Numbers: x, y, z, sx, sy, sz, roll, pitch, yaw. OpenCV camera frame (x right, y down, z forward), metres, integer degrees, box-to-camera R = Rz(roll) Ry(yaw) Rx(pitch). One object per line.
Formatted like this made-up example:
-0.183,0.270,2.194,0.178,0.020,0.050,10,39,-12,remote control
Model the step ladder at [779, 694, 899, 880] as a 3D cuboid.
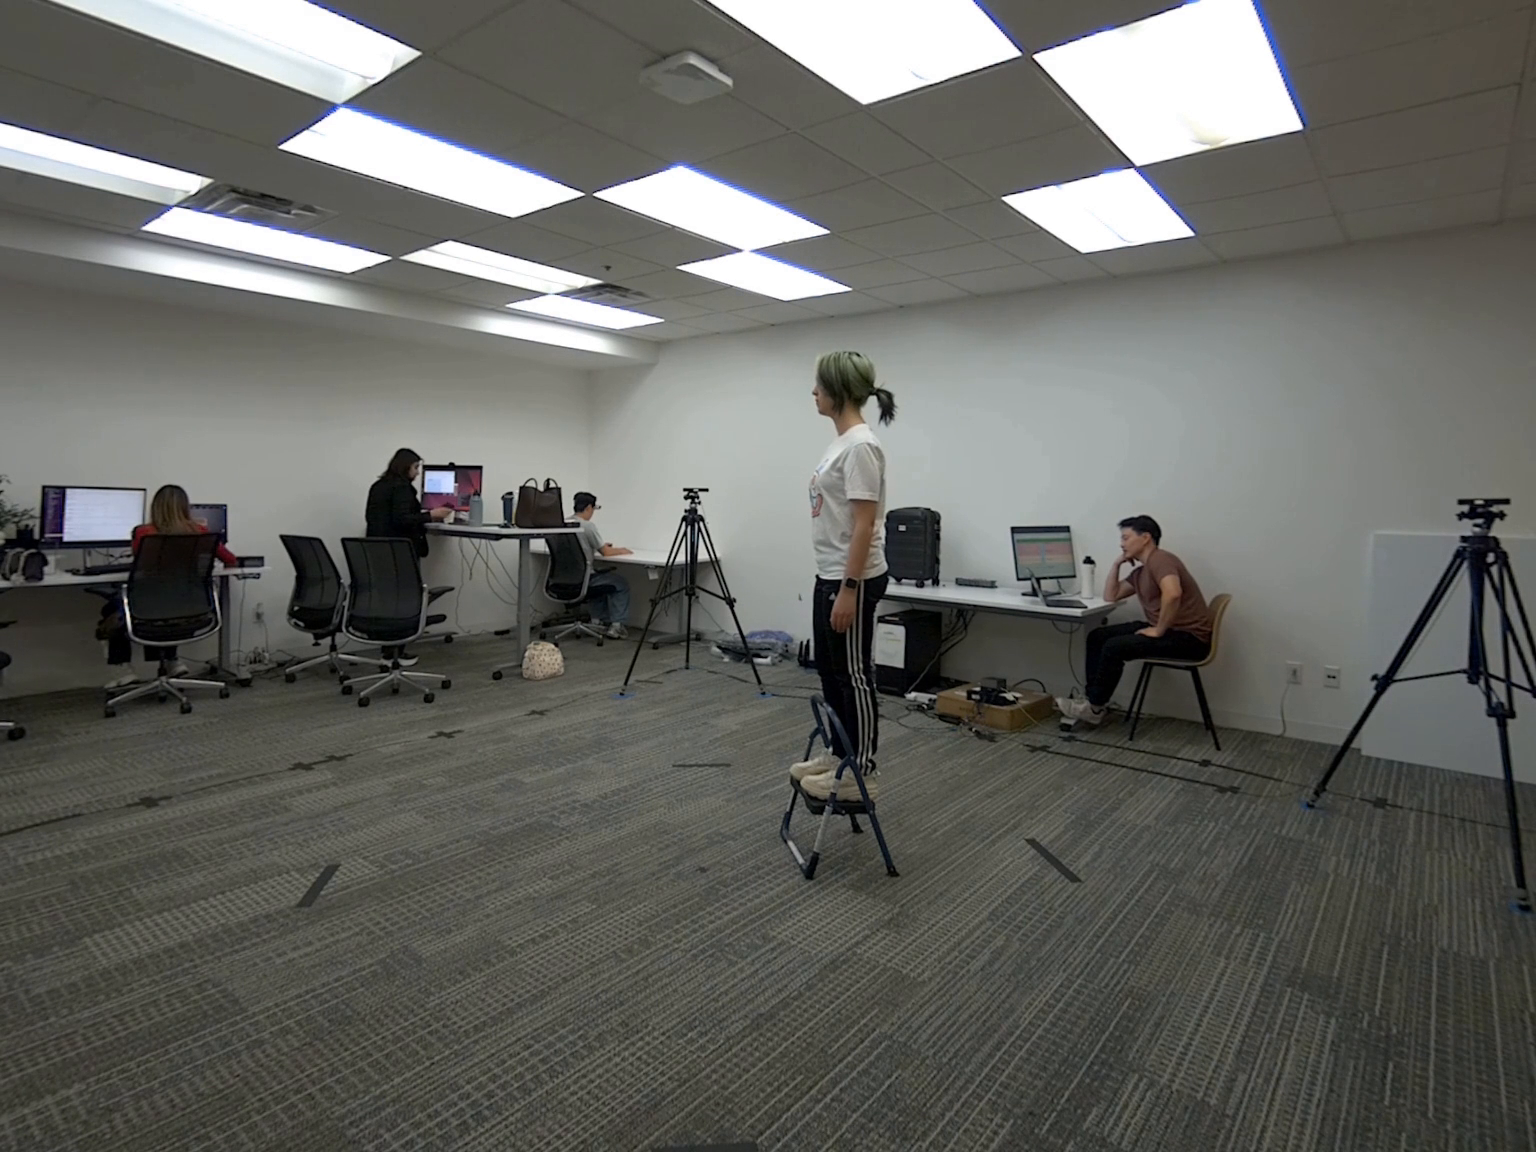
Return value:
0.260,0.766,3.255,0.345,0.604,0.437,1,3,-12,step ladder
